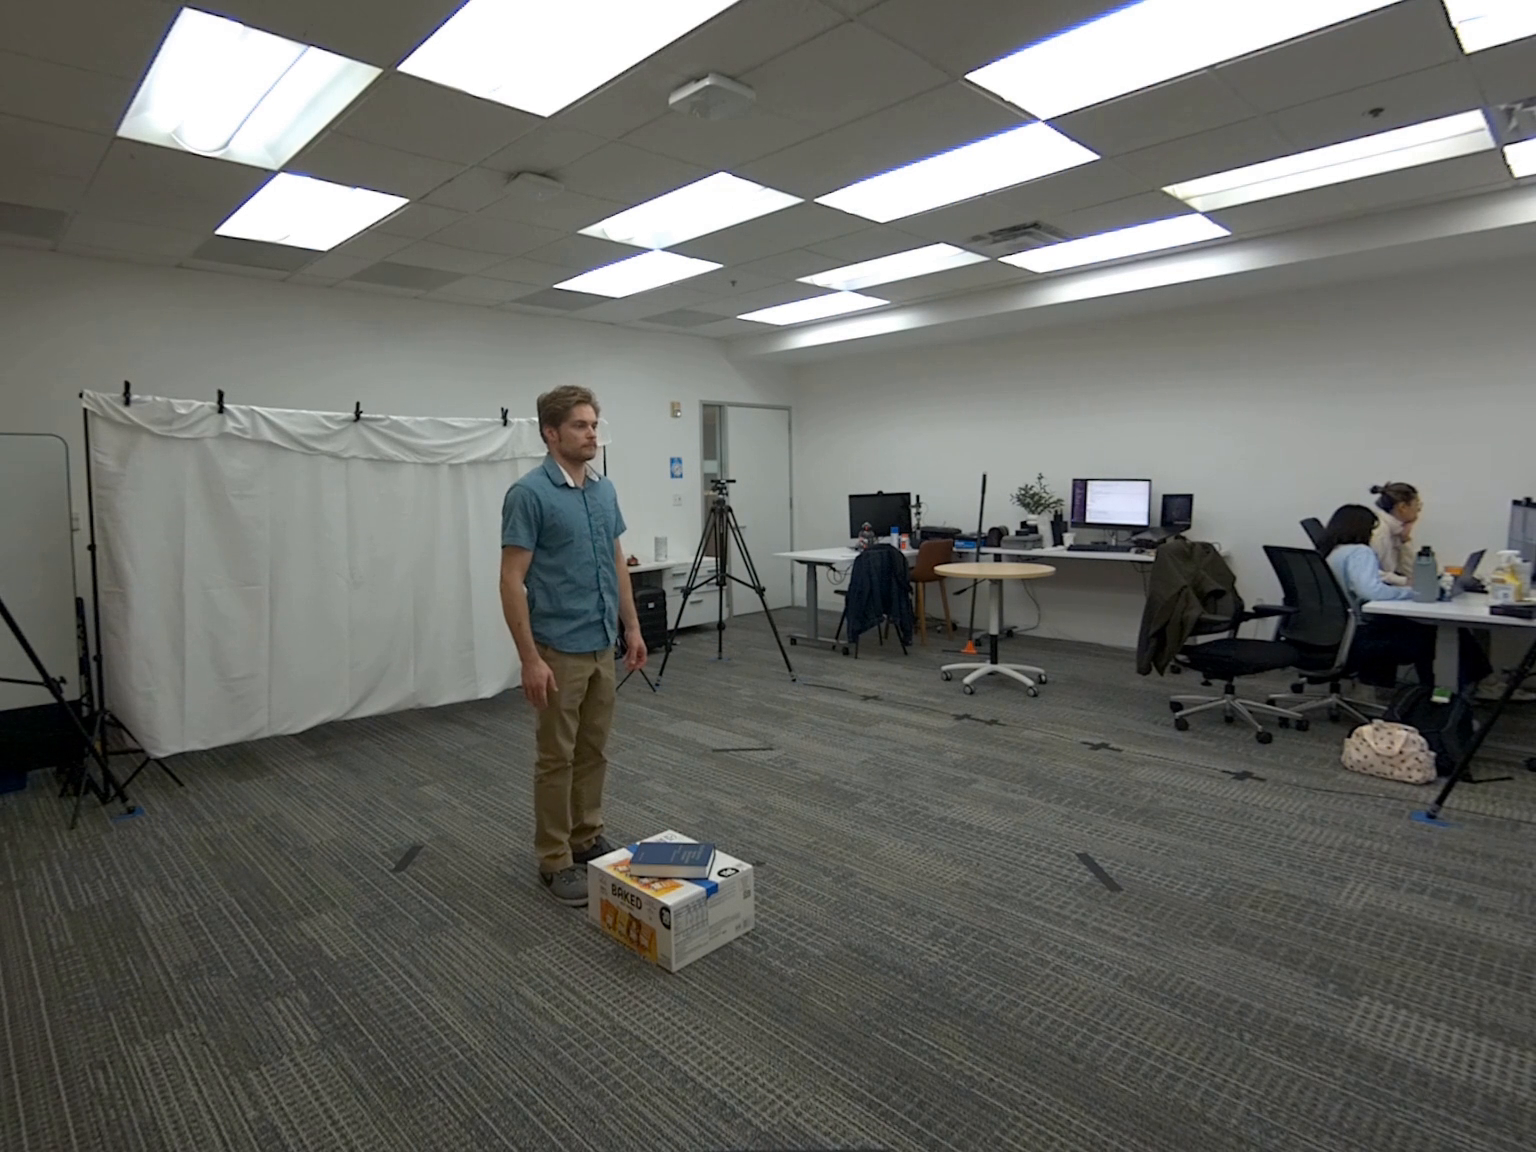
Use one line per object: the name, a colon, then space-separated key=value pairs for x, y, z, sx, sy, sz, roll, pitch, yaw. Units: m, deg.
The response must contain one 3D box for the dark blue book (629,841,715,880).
dark blue book: x=-0.290 y=0.890 z=2.657 sx=0.247 sy=0.045 sz=0.163 roll=-2 pitch=6 yaw=7
